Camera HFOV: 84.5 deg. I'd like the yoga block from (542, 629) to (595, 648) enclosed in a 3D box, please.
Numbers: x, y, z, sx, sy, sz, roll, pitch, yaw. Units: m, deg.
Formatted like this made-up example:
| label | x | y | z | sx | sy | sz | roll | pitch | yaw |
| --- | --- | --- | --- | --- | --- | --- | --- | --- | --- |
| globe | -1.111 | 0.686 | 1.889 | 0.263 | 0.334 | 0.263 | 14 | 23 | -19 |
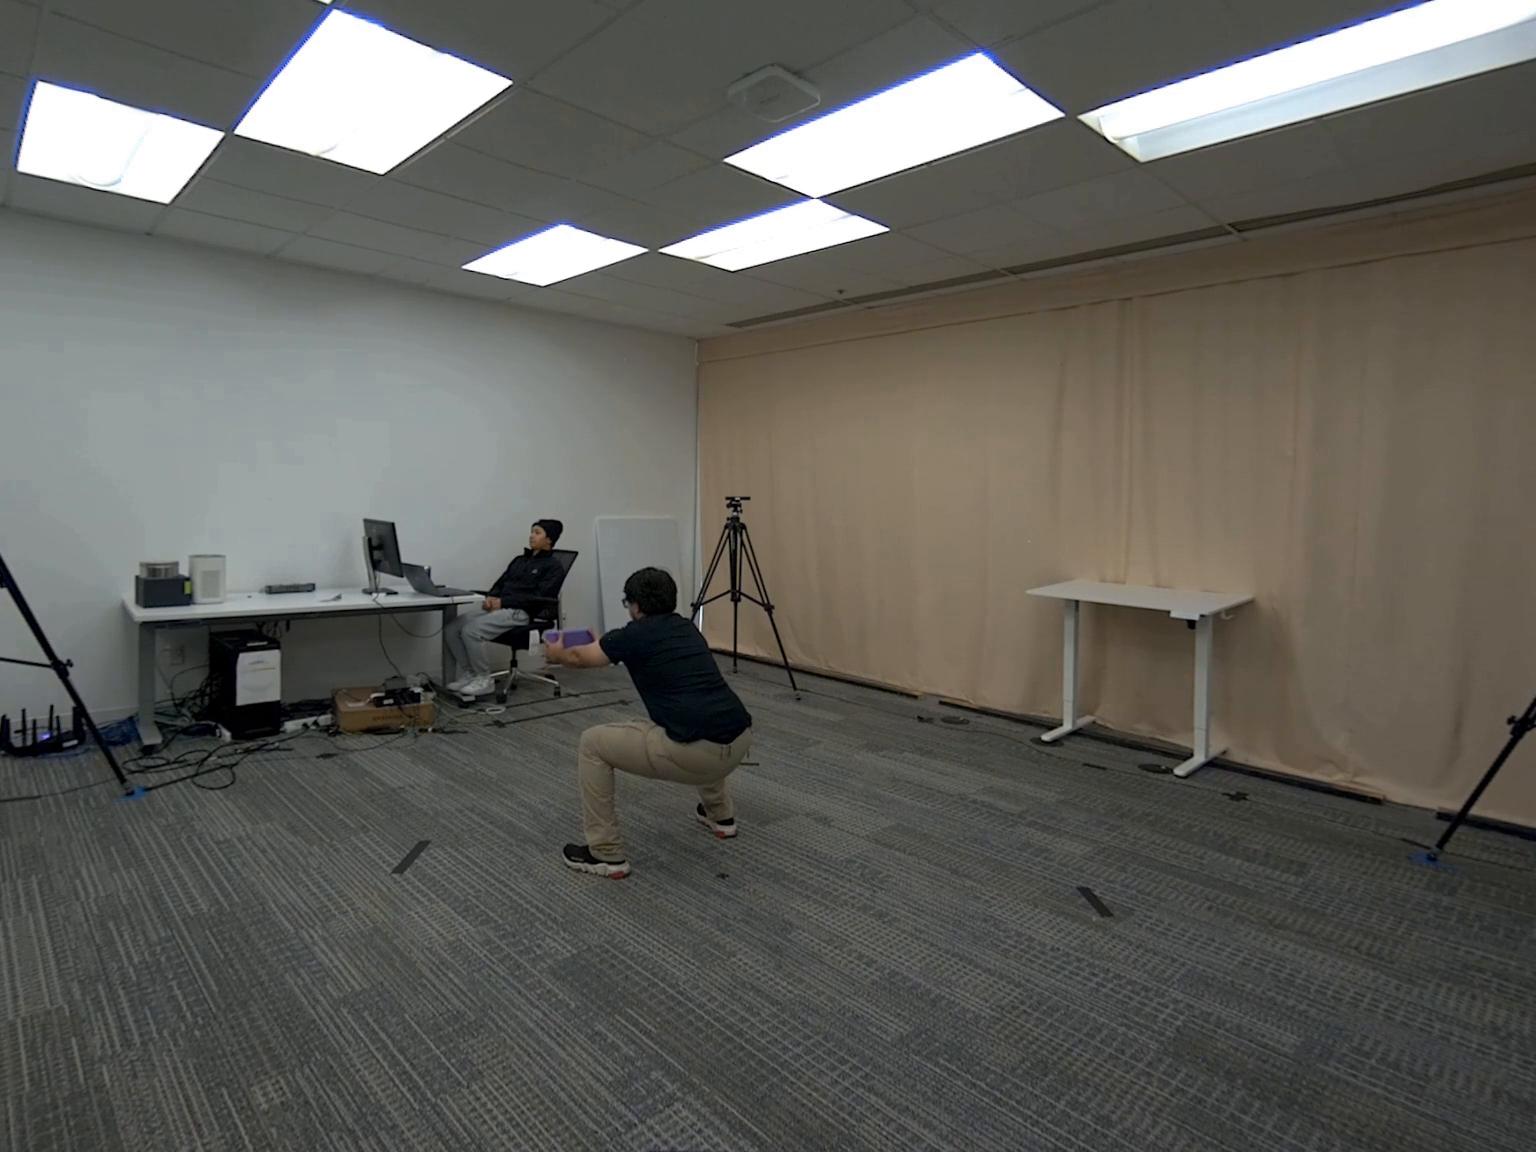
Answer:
| label | x | y | z | sx | sy | sz | roll | pitch | yaw |
| --- | --- | --- | --- | --- | --- | --- | --- | --- | --- |
| yoga block | -0.901 | 0.316 | 3.840 | 0.078 | 0.149 | 0.224 | -4 | 0 | 38 |
